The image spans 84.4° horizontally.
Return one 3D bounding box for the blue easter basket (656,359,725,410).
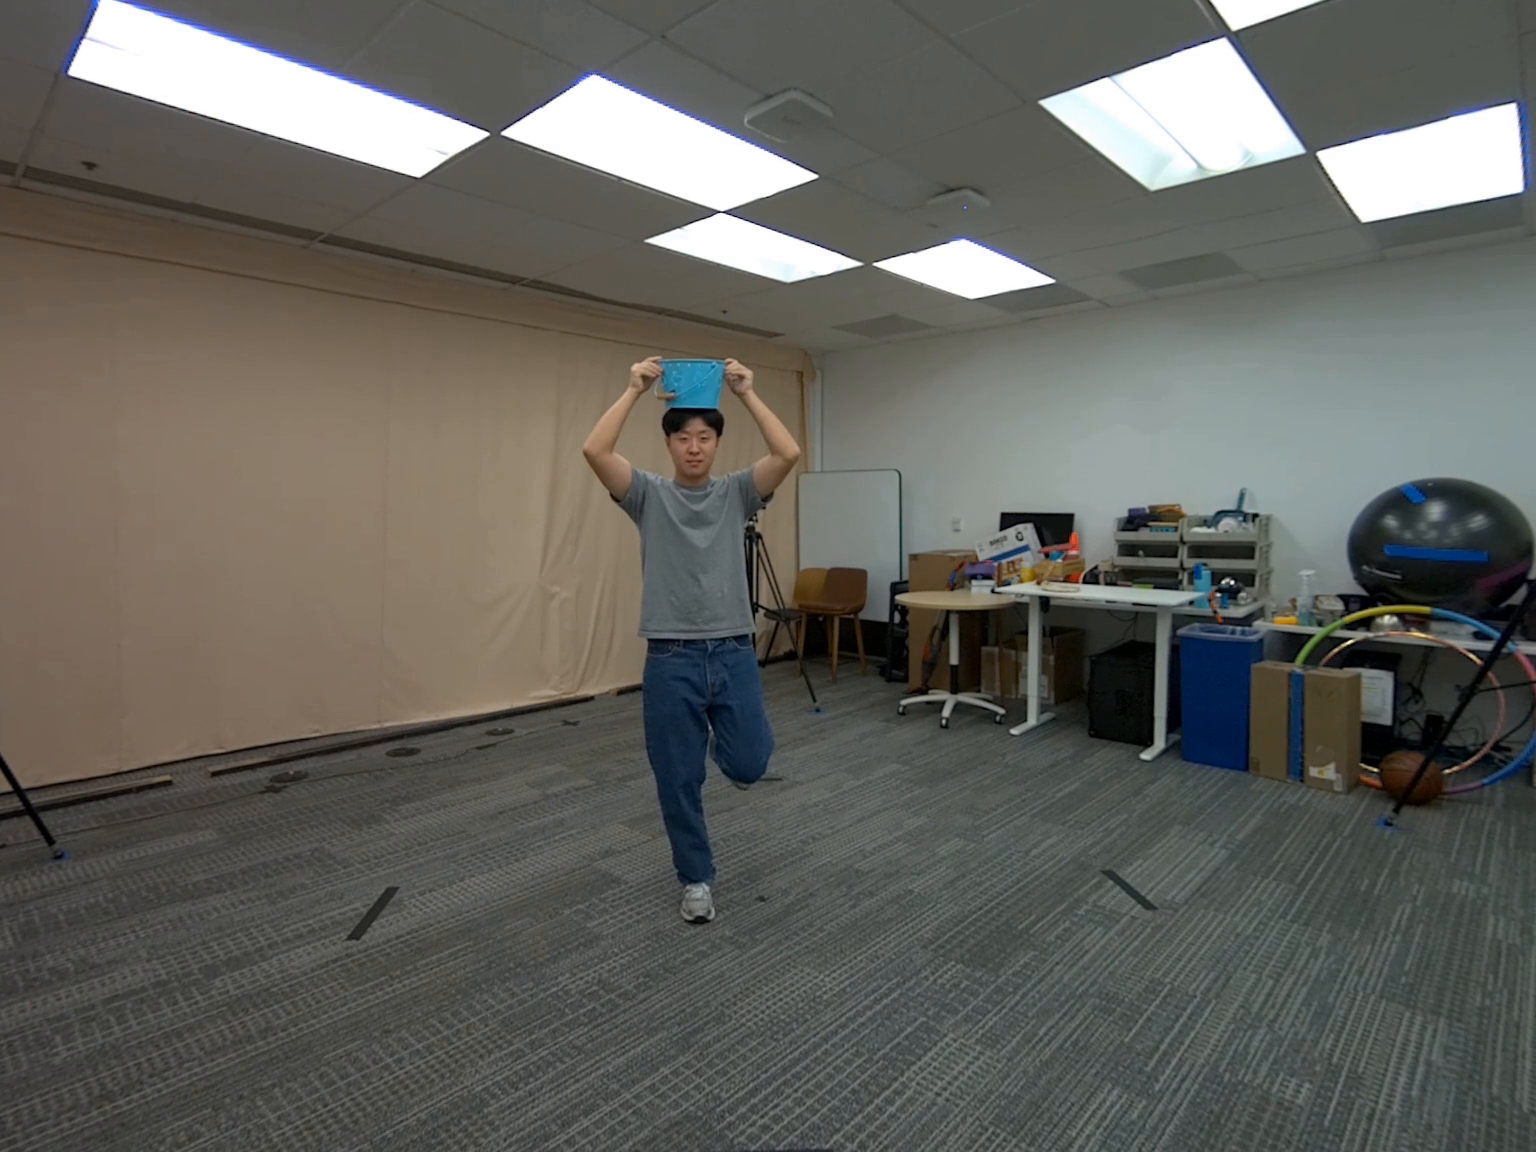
[{"bbox_3d":[-0.259,-0.640,2.807,0.243,0.155,0.245,1,9,-2],"label":"blue easter basket"}]
